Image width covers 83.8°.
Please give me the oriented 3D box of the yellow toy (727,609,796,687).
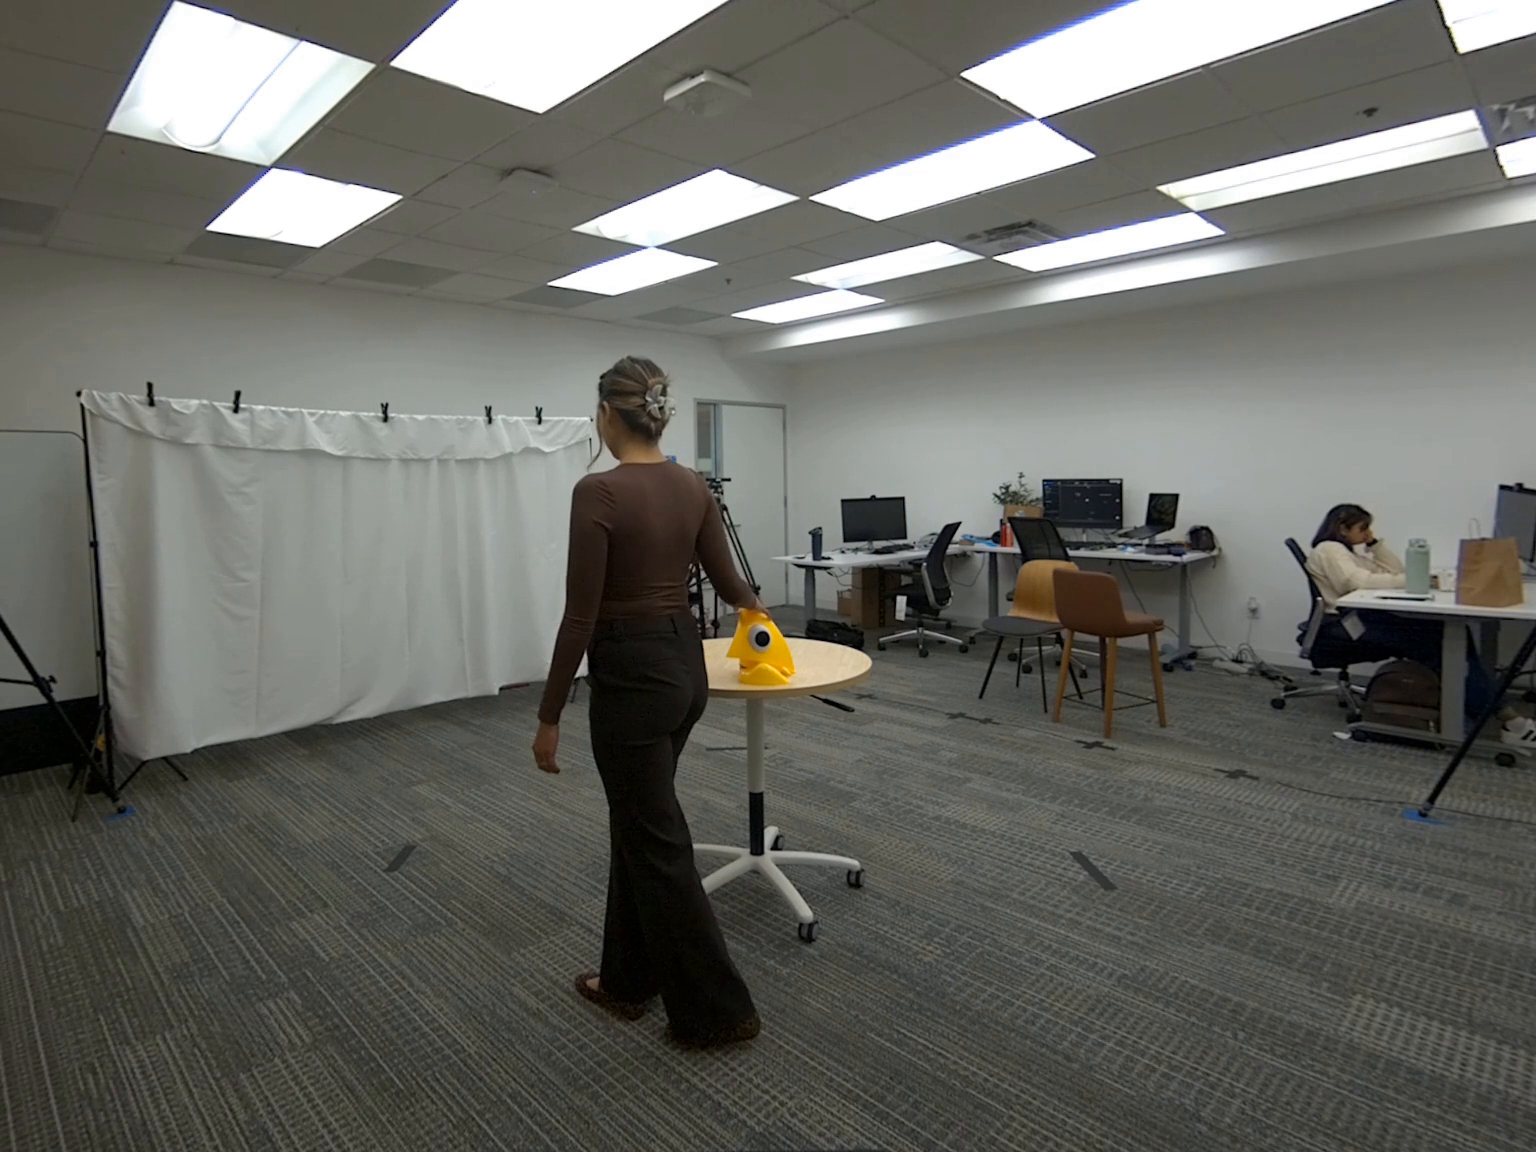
[{"bbox_3d":[-0.010,0.194,2.585,0.195,0.229,0.203,0,6,12],"label":"yellow toy"}]
